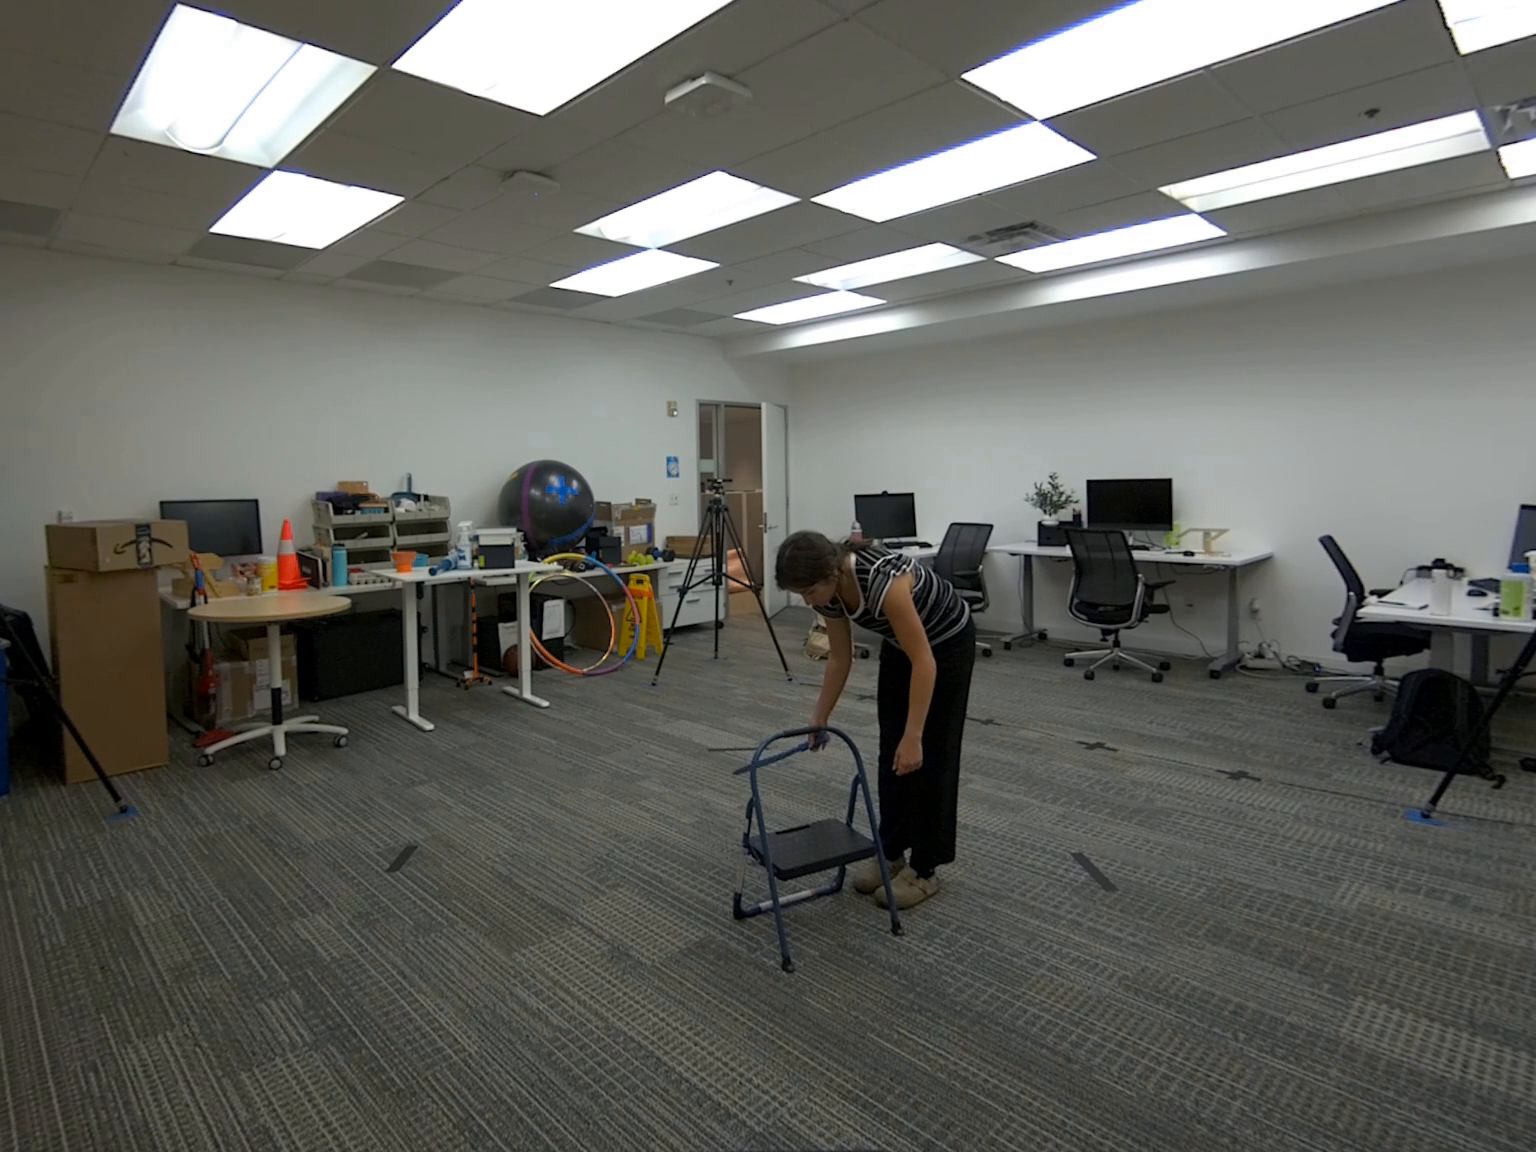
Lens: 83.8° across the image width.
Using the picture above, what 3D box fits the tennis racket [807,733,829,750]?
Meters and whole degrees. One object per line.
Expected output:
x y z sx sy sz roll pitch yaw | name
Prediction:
0.057 0.674 3.146 0.438 0.032 0.207 -27 -16 29 | tennis racket
